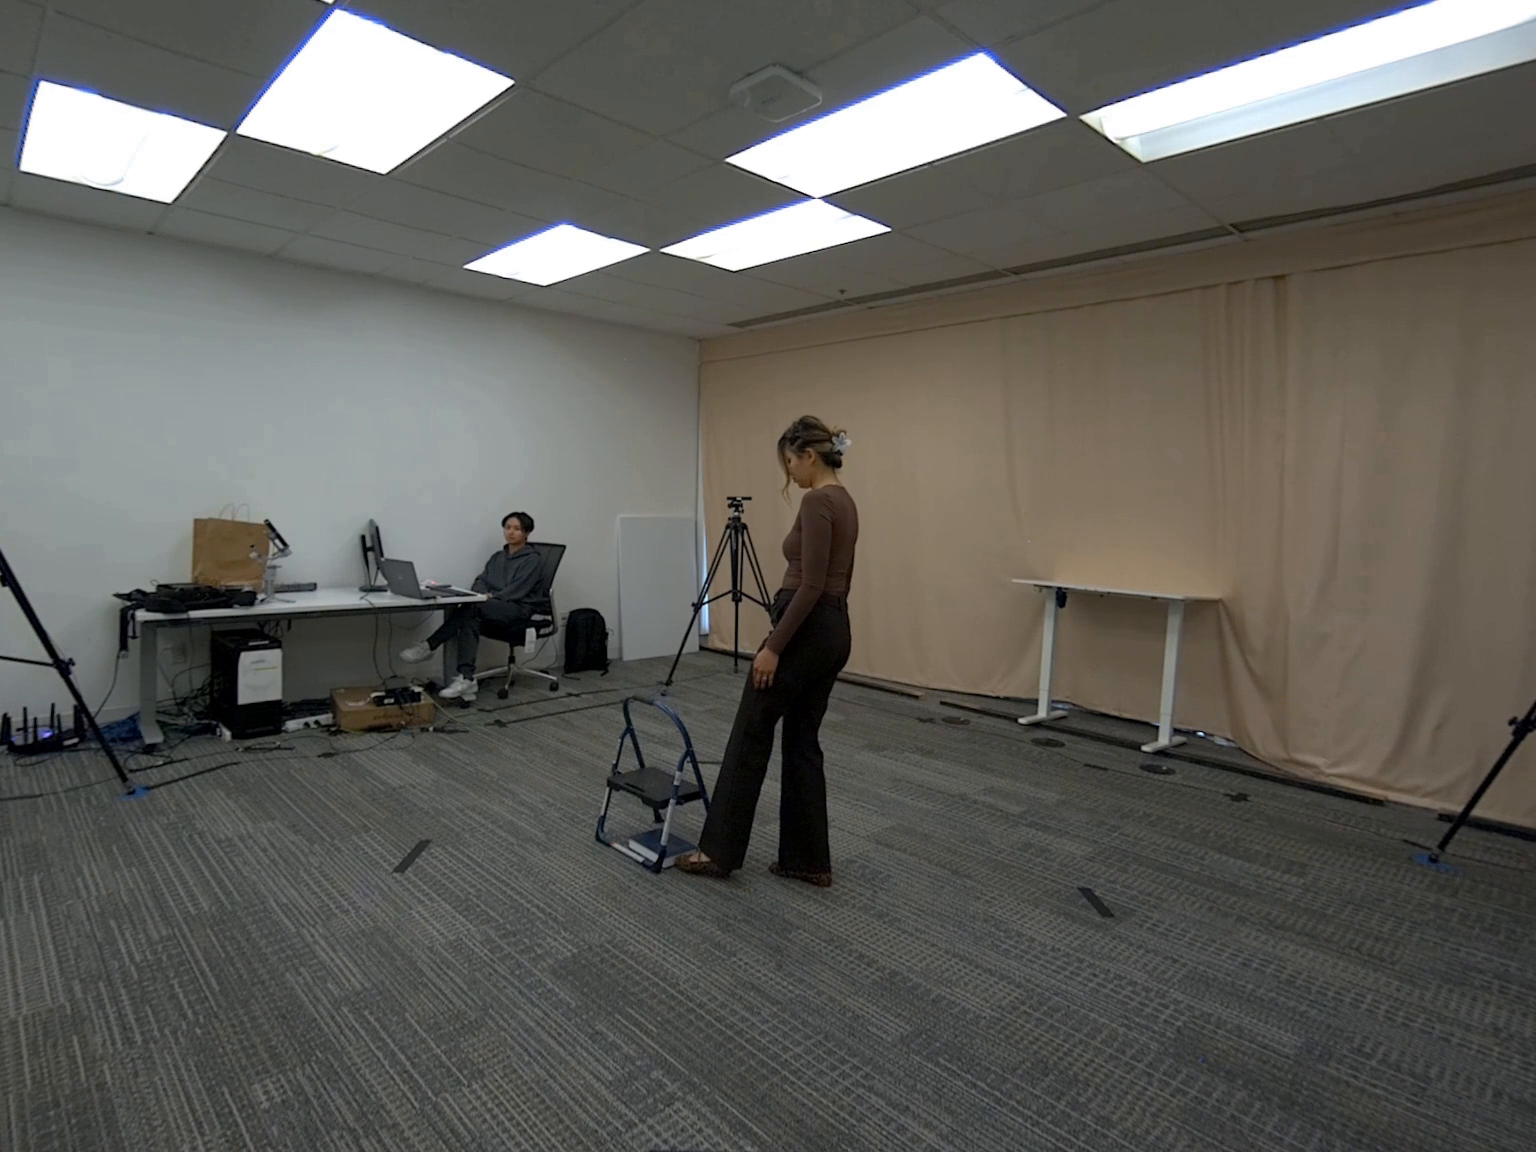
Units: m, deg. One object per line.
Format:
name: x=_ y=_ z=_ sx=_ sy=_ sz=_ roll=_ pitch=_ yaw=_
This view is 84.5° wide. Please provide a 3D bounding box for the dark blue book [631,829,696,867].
dark blue book: x=-0.417 y=1.060 z=3.295 sx=0.160 sy=0.045 sz=0.251 roll=-4 pitch=8 yaw=-42
